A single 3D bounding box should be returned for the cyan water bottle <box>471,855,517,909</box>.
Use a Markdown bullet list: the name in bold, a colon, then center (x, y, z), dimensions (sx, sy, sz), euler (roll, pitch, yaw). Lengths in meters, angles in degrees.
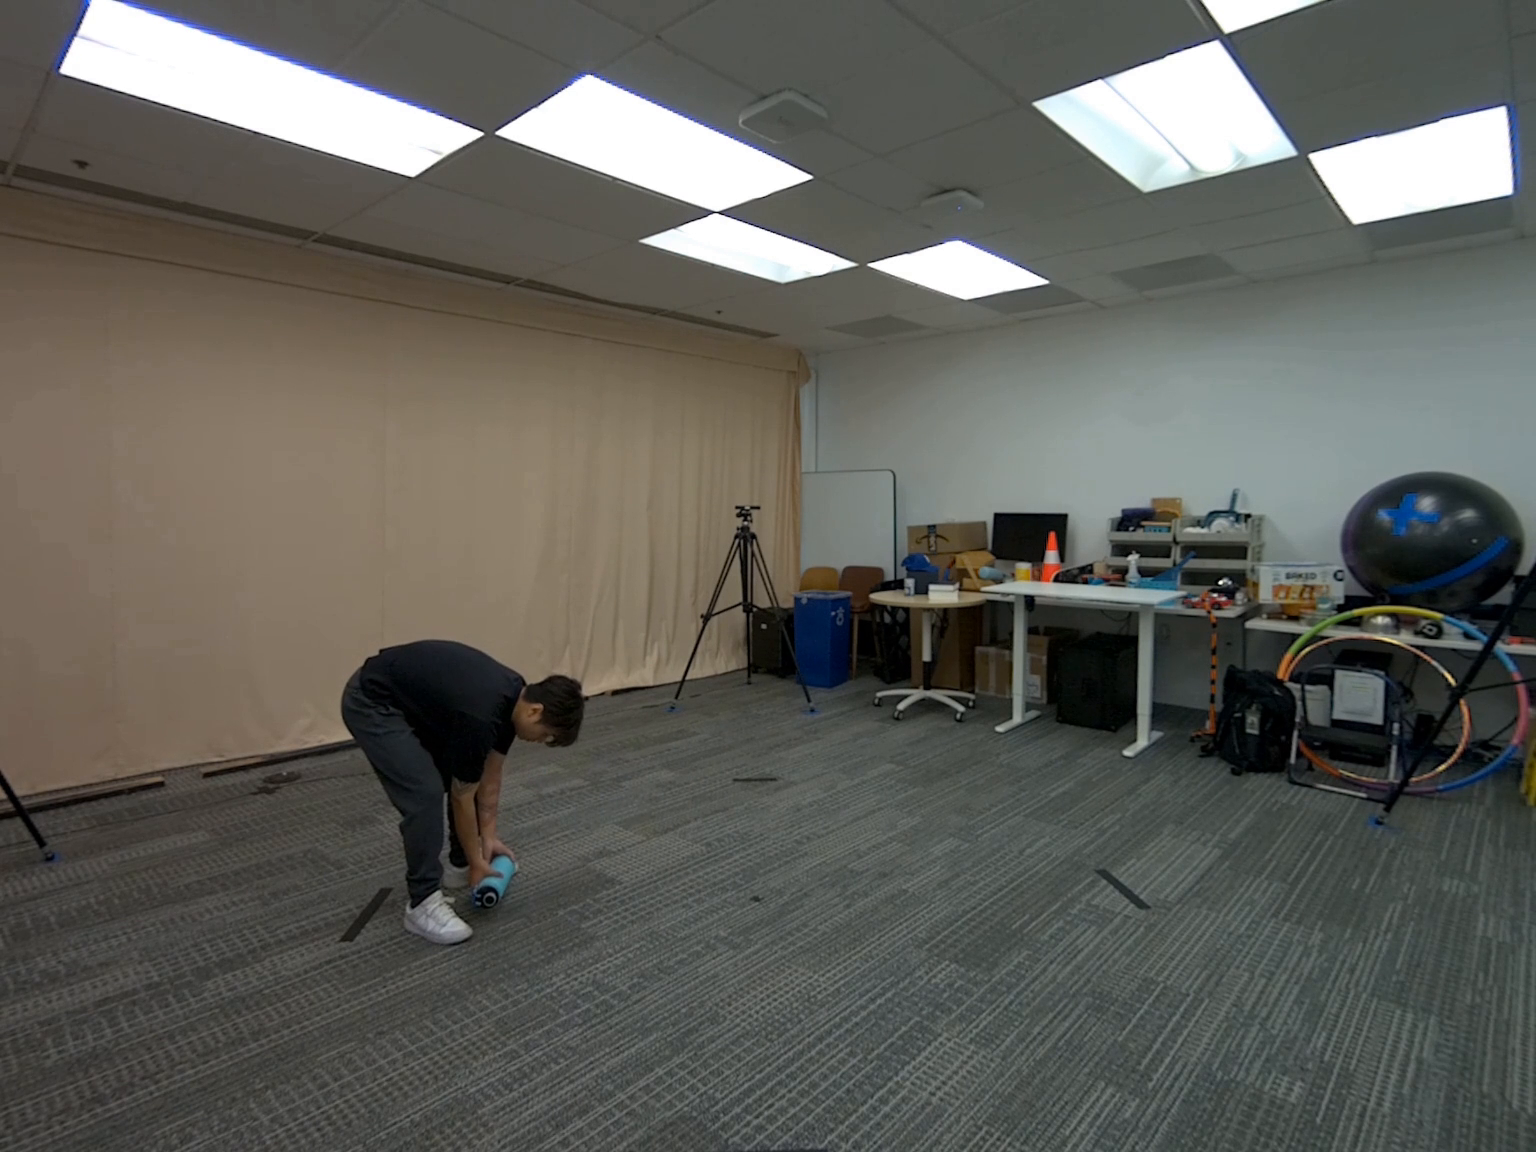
- **cyan water bottle**: center (-0.963, 1.078, 2.920), dimensions (0.092, 0.092, 0.285), euler (0, 6, -3)
